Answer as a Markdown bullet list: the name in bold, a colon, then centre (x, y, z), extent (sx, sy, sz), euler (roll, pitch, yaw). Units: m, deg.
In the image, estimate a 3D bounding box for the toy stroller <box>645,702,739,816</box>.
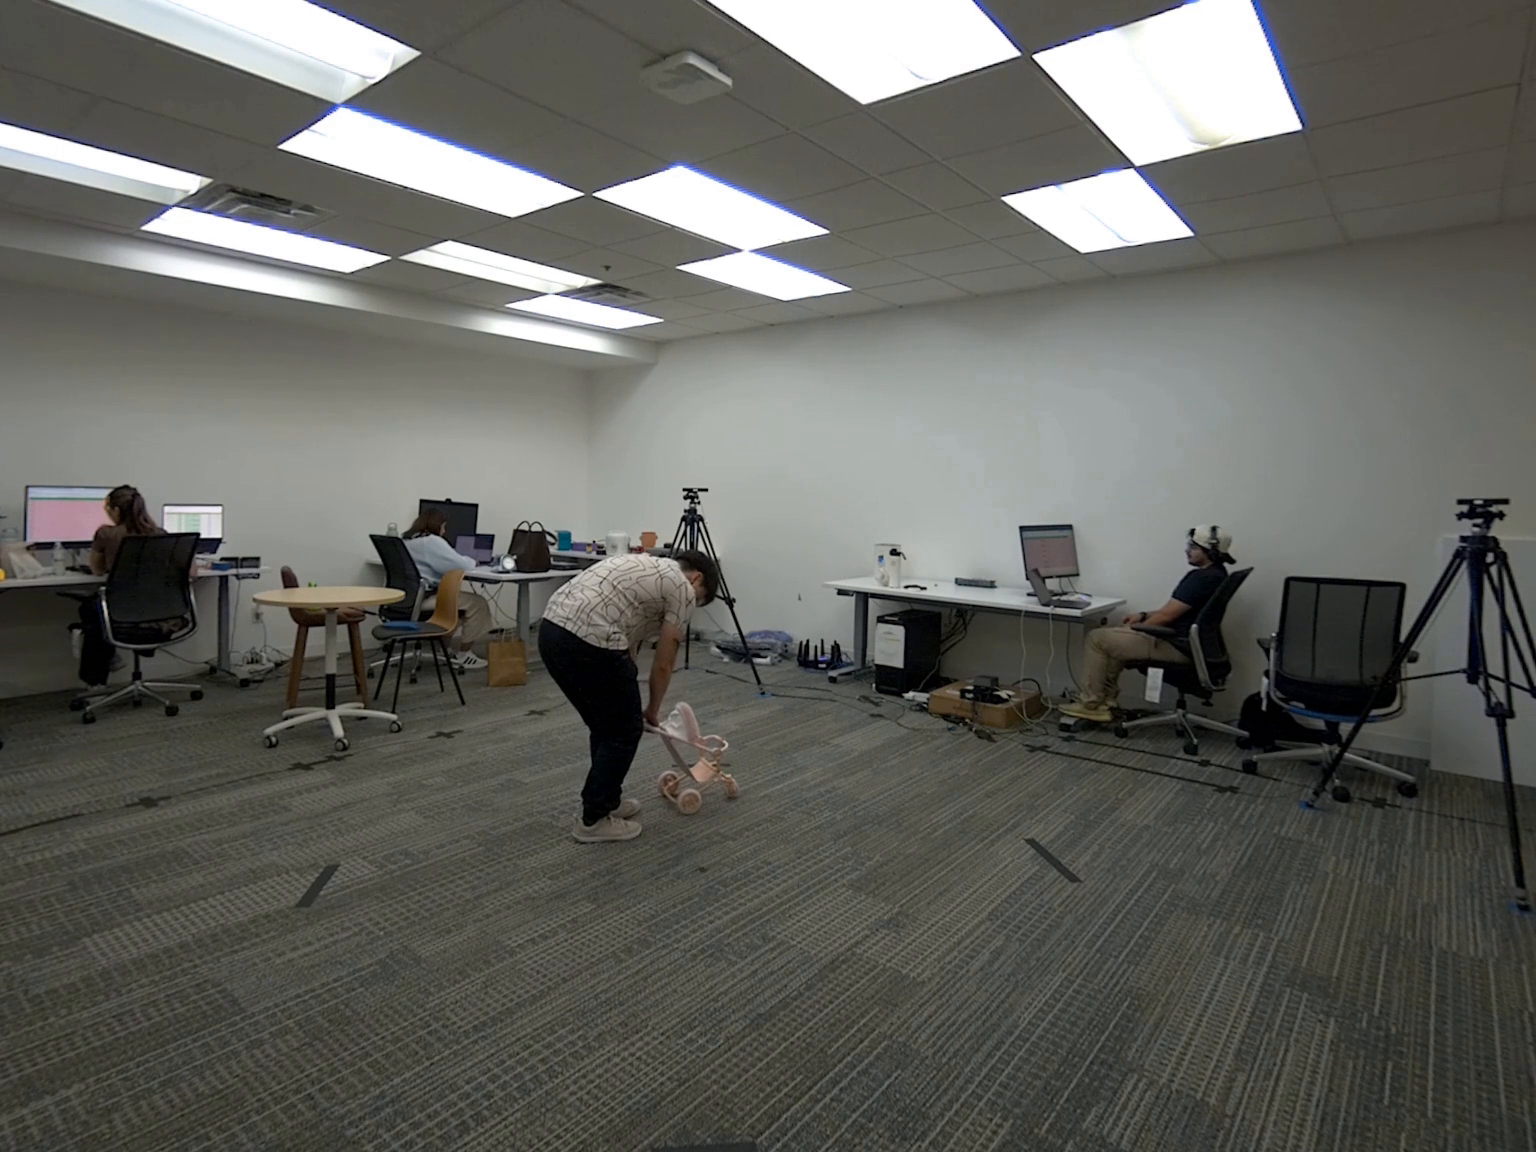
- **toy stroller**: centre (-0.354, 0.786, 3.756), extent (0.337, 0.528, 0.288), euler (-21, 11, -19)
